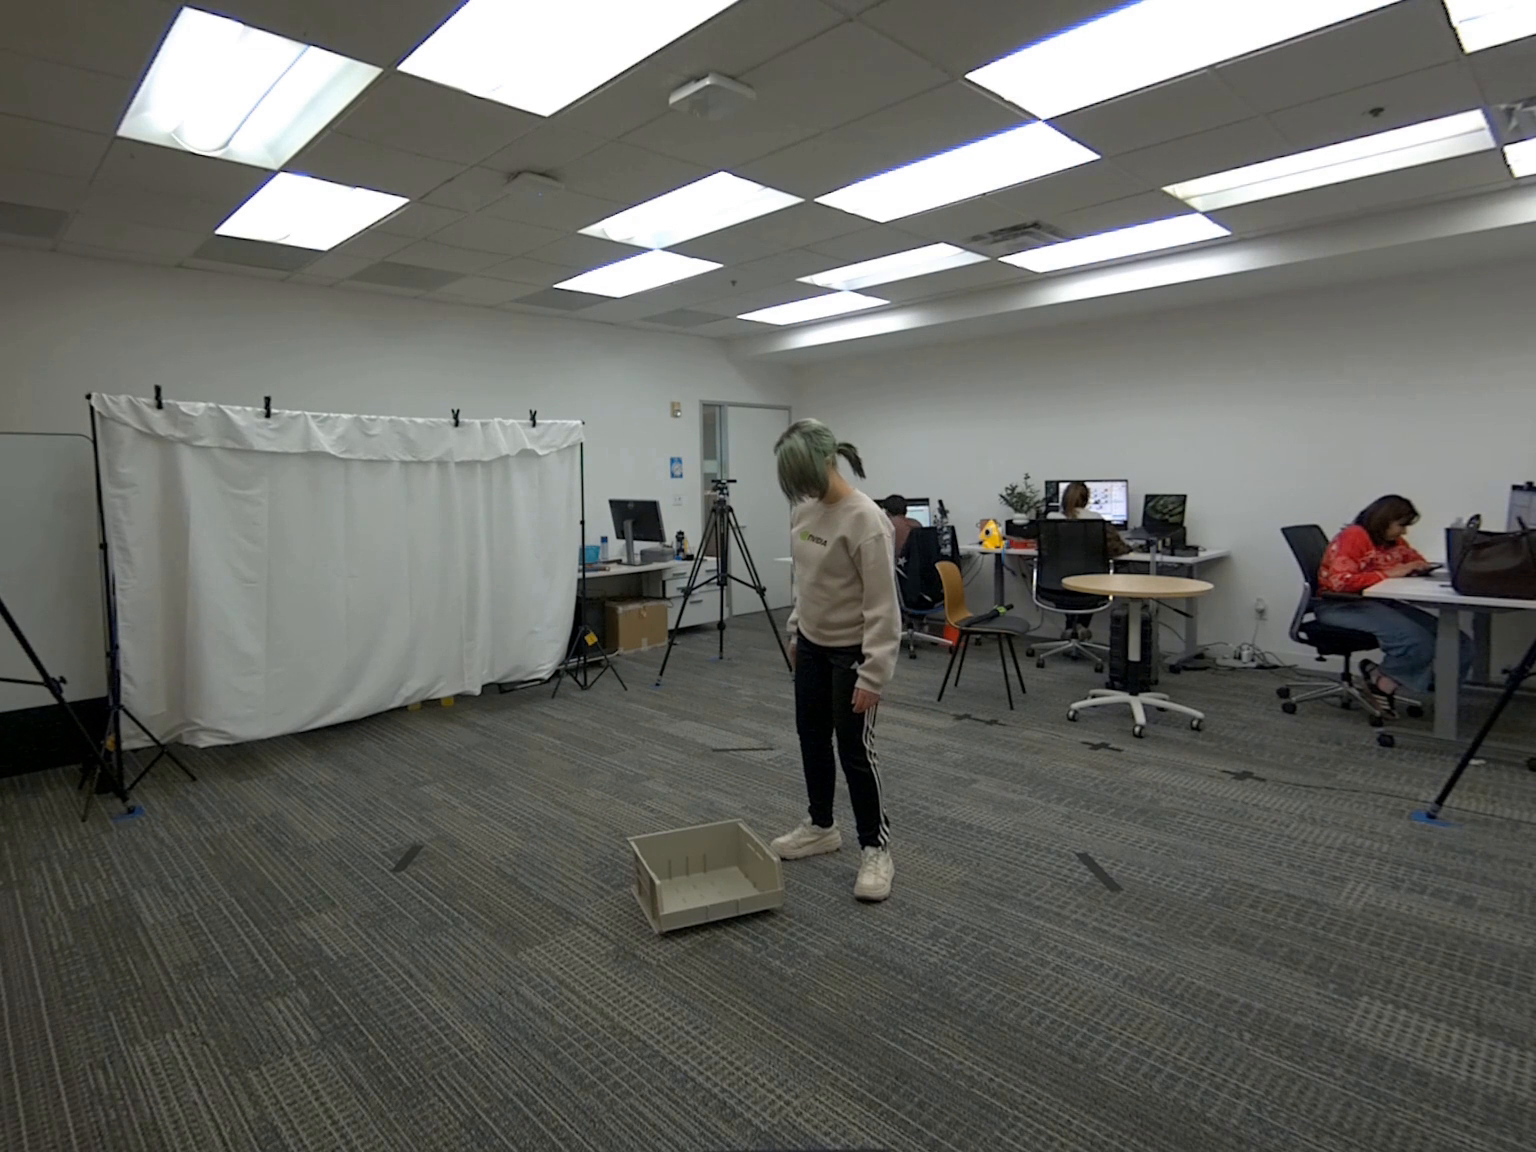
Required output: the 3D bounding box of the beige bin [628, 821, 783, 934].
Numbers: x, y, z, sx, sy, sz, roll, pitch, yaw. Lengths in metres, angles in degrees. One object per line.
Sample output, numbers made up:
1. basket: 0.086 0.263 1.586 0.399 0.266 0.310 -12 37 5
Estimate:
1. beige bin: -0.208 0.994 2.823 0.414 0.188 0.386 -5 6 -22
